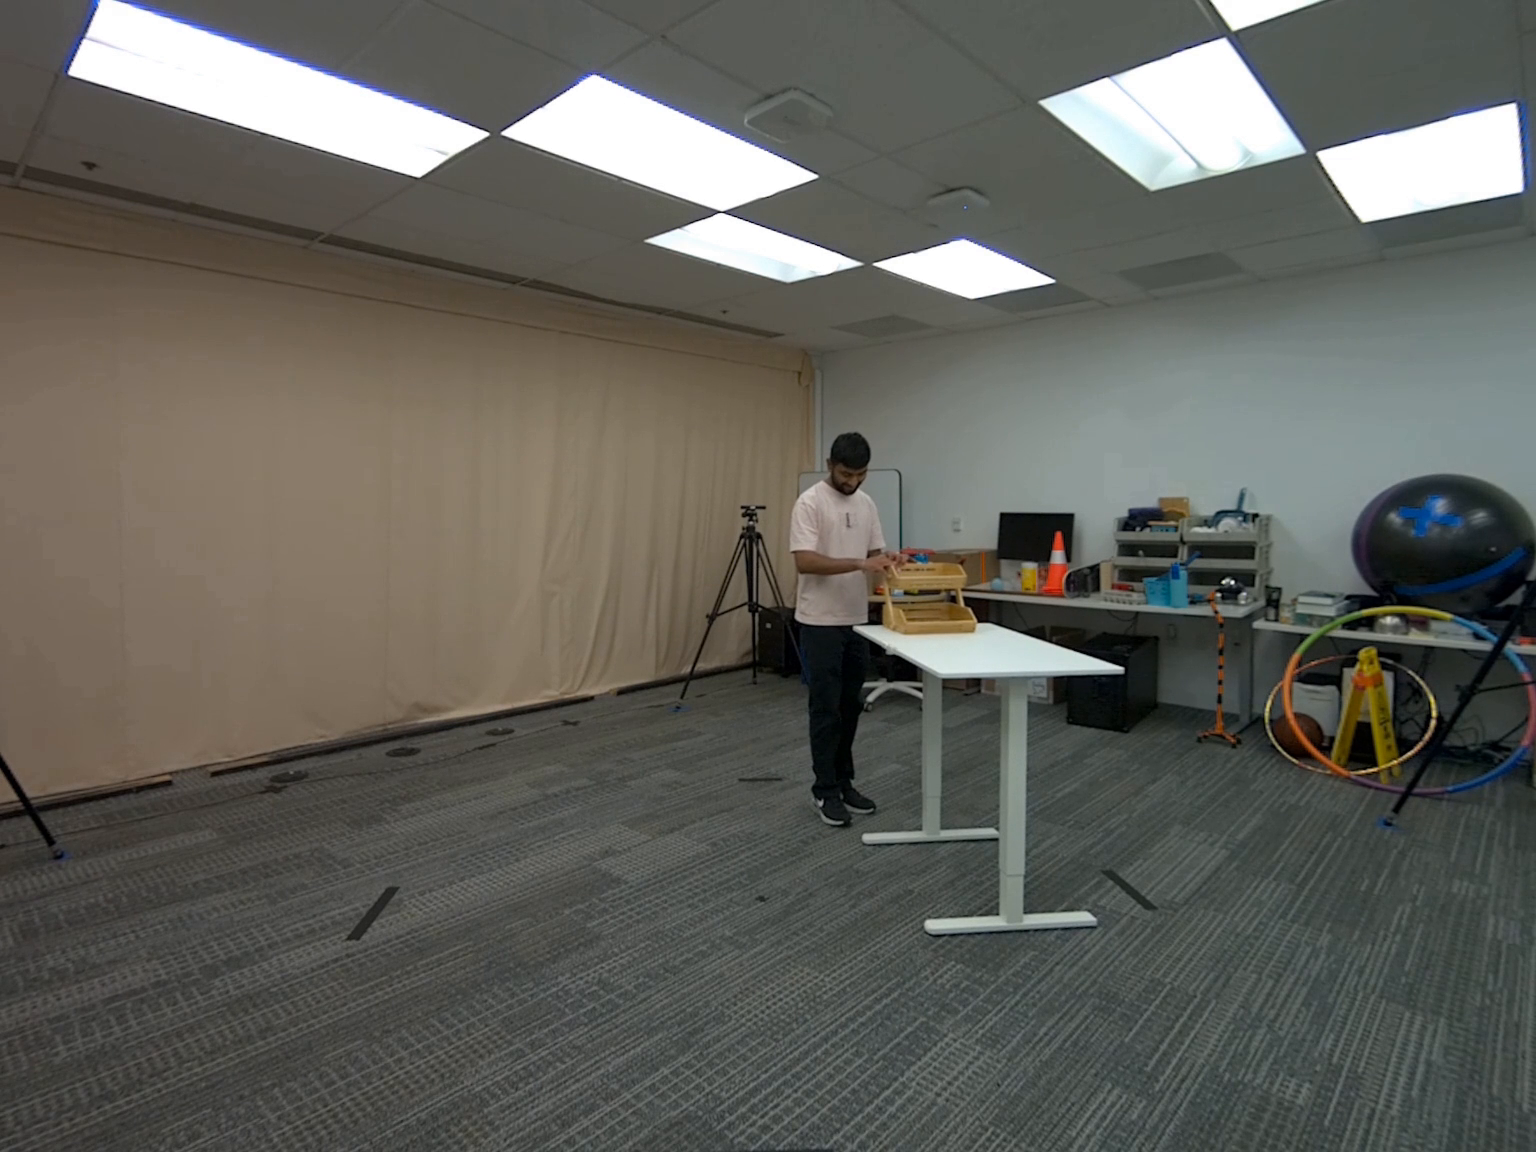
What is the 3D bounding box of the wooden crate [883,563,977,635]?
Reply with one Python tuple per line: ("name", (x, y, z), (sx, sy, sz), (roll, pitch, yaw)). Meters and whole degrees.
("wooden crate", (0.667, 0.082, 3.461), (0.321, 0.273, 0.306), (-1, 1, -11))
